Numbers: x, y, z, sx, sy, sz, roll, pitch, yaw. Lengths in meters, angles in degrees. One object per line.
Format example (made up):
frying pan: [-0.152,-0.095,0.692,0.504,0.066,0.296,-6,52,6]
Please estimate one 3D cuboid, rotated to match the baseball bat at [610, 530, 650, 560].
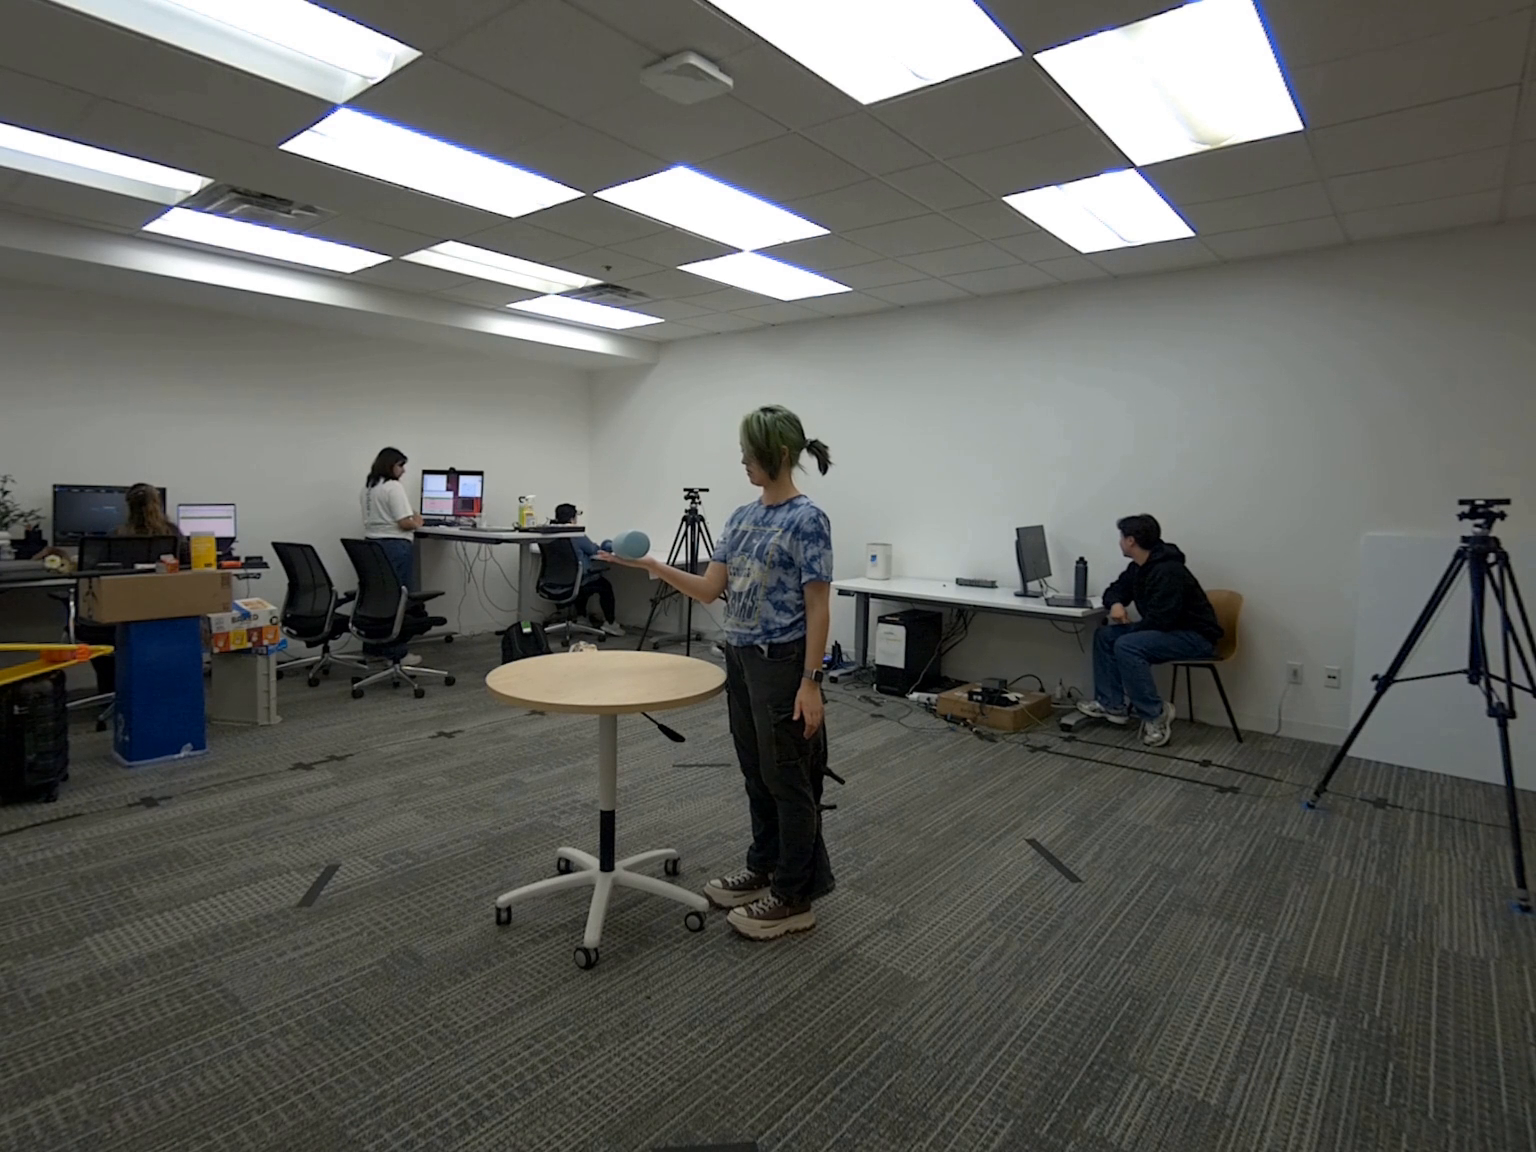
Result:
baseball bat: [-0.491,-0.097,2.718,0.087,0.089,0.553,0,1,-20]
